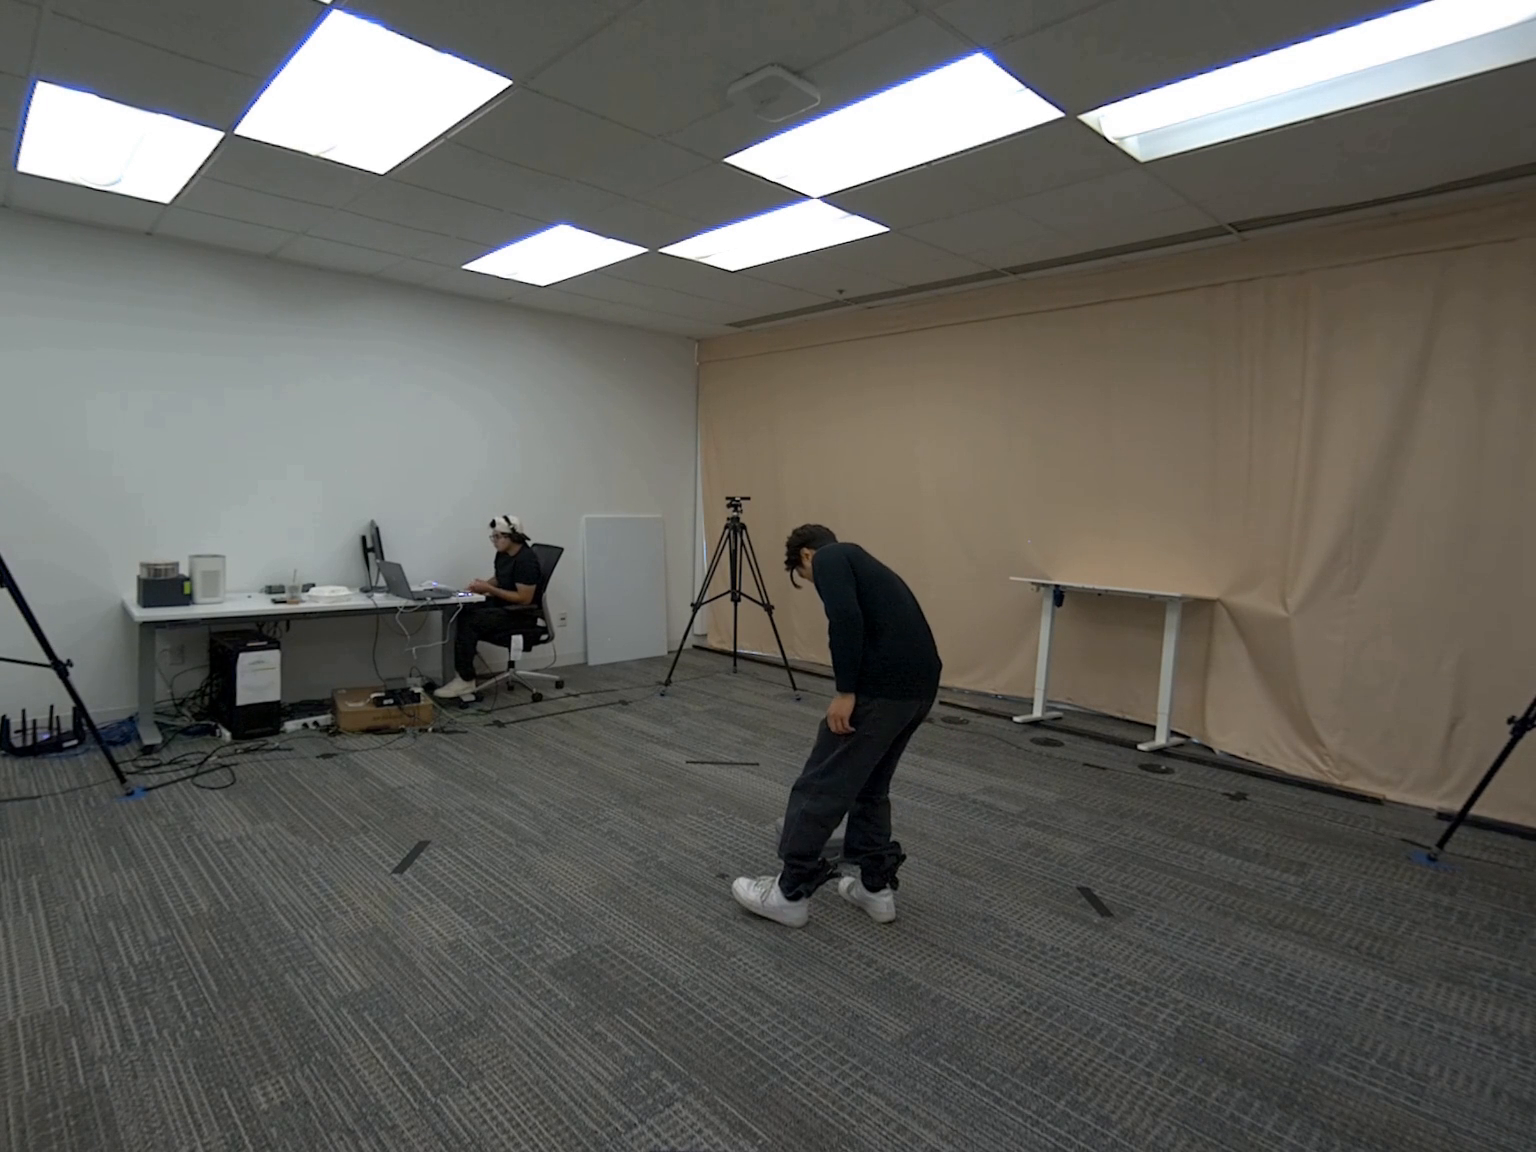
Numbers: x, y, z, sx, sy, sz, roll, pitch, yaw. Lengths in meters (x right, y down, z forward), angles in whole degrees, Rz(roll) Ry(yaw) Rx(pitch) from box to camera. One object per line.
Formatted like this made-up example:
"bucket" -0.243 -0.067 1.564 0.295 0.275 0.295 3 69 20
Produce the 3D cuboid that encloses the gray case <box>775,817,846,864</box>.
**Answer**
"gray case" 0.177 1.041 3.333 0.254 0.104 0.264 1 5 -15
